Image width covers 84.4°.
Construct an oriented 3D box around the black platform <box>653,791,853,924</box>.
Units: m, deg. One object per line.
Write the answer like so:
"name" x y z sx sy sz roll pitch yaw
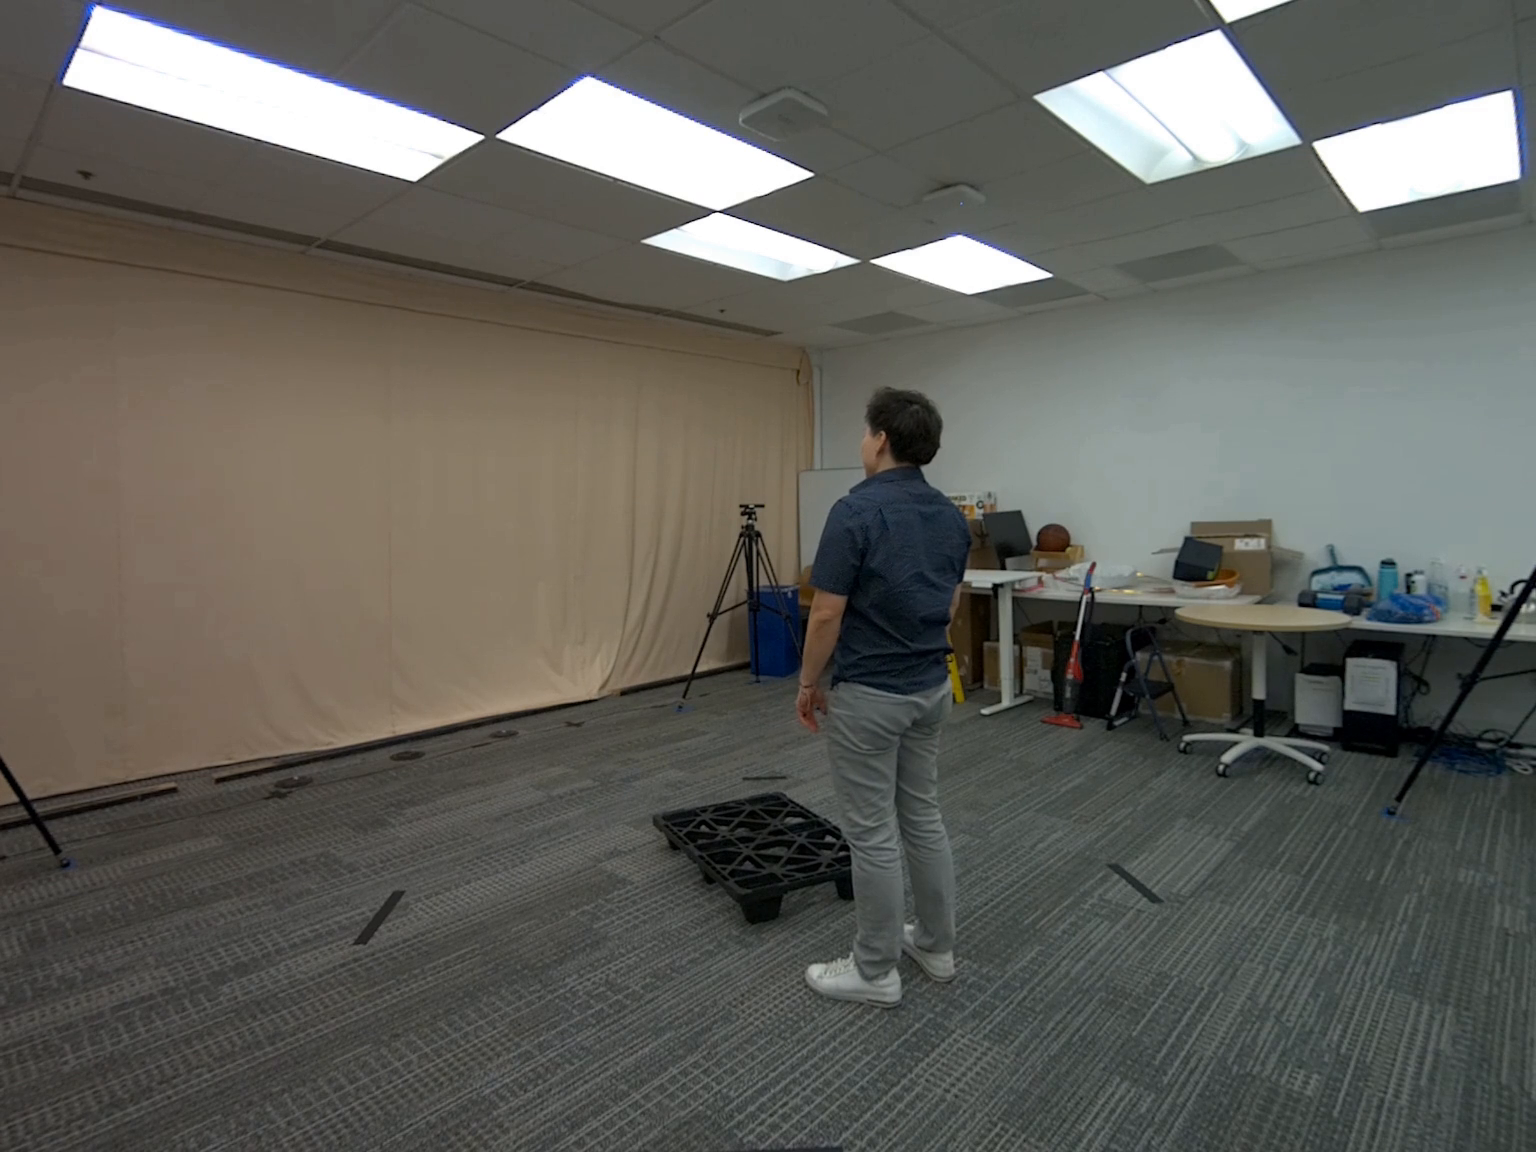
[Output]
"black platform" -0.018 1.053 3.217 0.590 0.143 0.828 -3 5 -27
